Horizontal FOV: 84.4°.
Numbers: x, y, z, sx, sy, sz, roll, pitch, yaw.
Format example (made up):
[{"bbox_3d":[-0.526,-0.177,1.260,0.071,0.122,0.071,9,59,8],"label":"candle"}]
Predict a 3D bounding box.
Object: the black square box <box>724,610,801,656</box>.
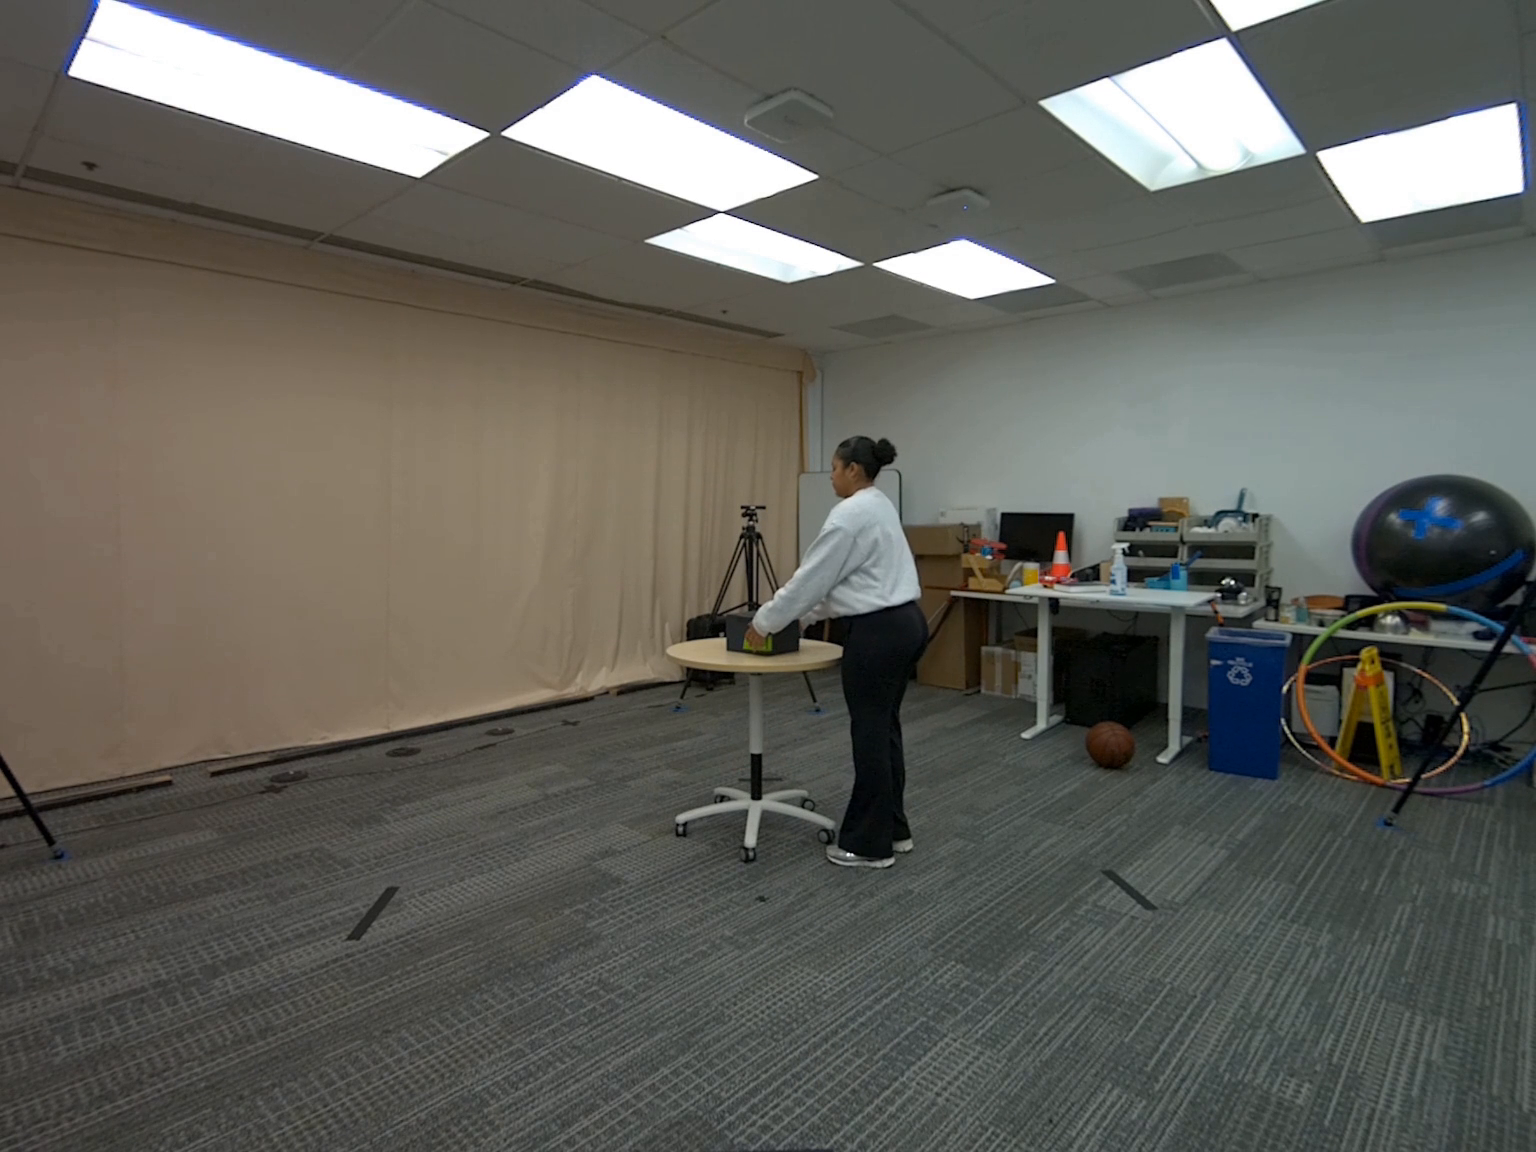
[{"bbox_3d":[-0.021,0.238,3.558,0.235,0.156,0.210,3,4,42],"label":"black square box"}]
